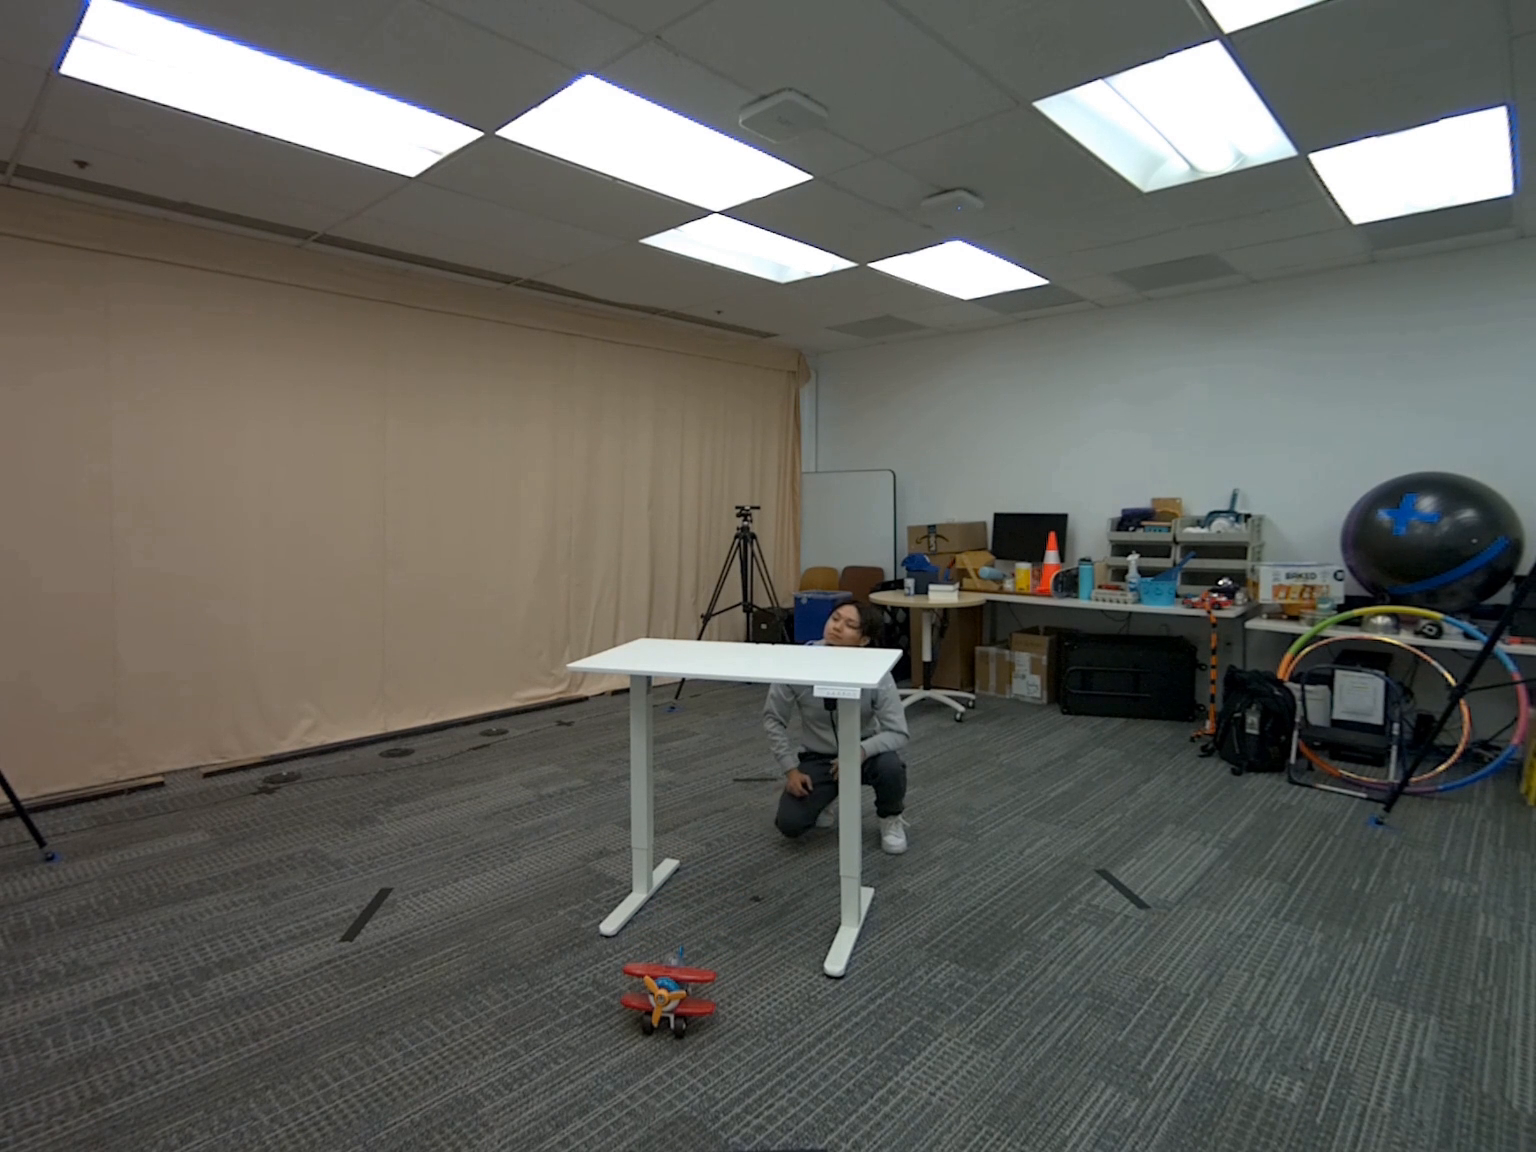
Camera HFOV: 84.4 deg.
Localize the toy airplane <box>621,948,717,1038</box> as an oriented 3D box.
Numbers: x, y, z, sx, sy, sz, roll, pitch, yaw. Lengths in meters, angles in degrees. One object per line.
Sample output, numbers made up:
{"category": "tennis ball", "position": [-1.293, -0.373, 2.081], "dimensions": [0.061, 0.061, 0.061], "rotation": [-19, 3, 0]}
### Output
{"category": "toy airplane", "position": [-0.279, 1.132, 2.296], "dimensions": [0.246, 0.156, 0.265], "rotation": [-2, 6, -20]}
